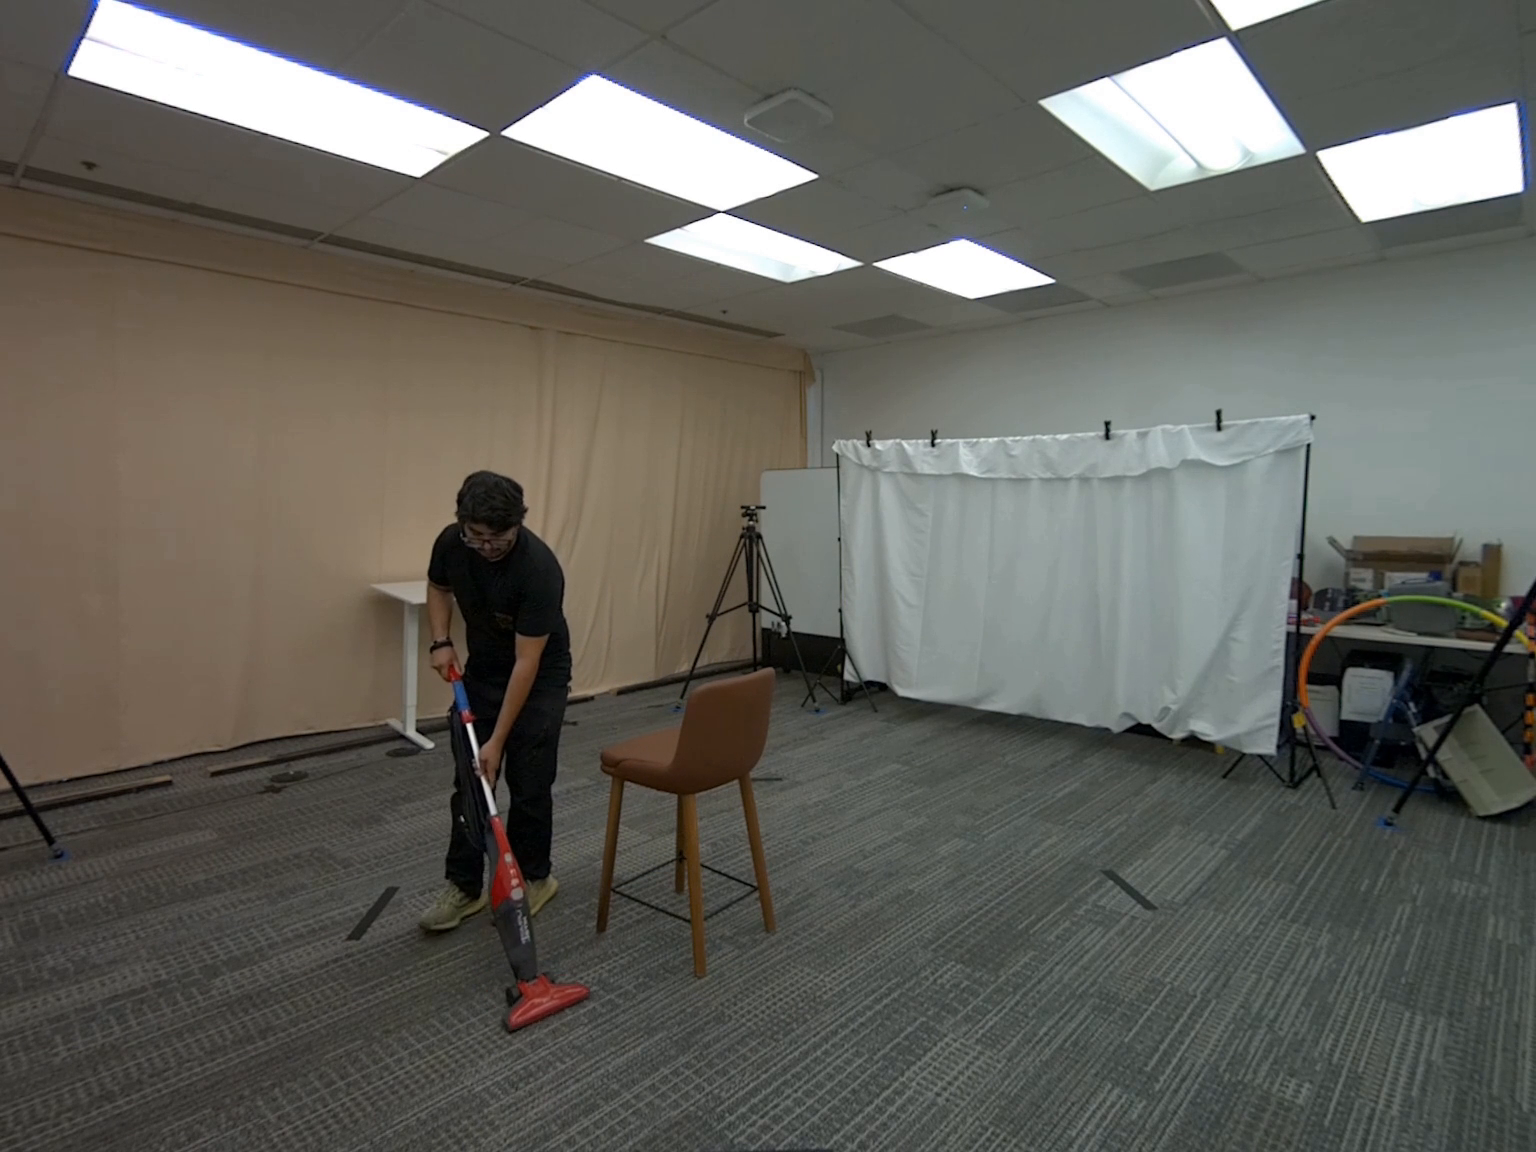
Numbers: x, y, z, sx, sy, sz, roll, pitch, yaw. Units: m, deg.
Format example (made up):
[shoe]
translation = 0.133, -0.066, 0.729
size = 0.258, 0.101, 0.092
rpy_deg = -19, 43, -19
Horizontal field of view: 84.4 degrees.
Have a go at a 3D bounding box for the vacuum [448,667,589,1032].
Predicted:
[vacuum]
translation = -0.845, 0.746, 2.537
size = 0.245, 1.070, 0.145
rpy_deg = -5, -28, -41
